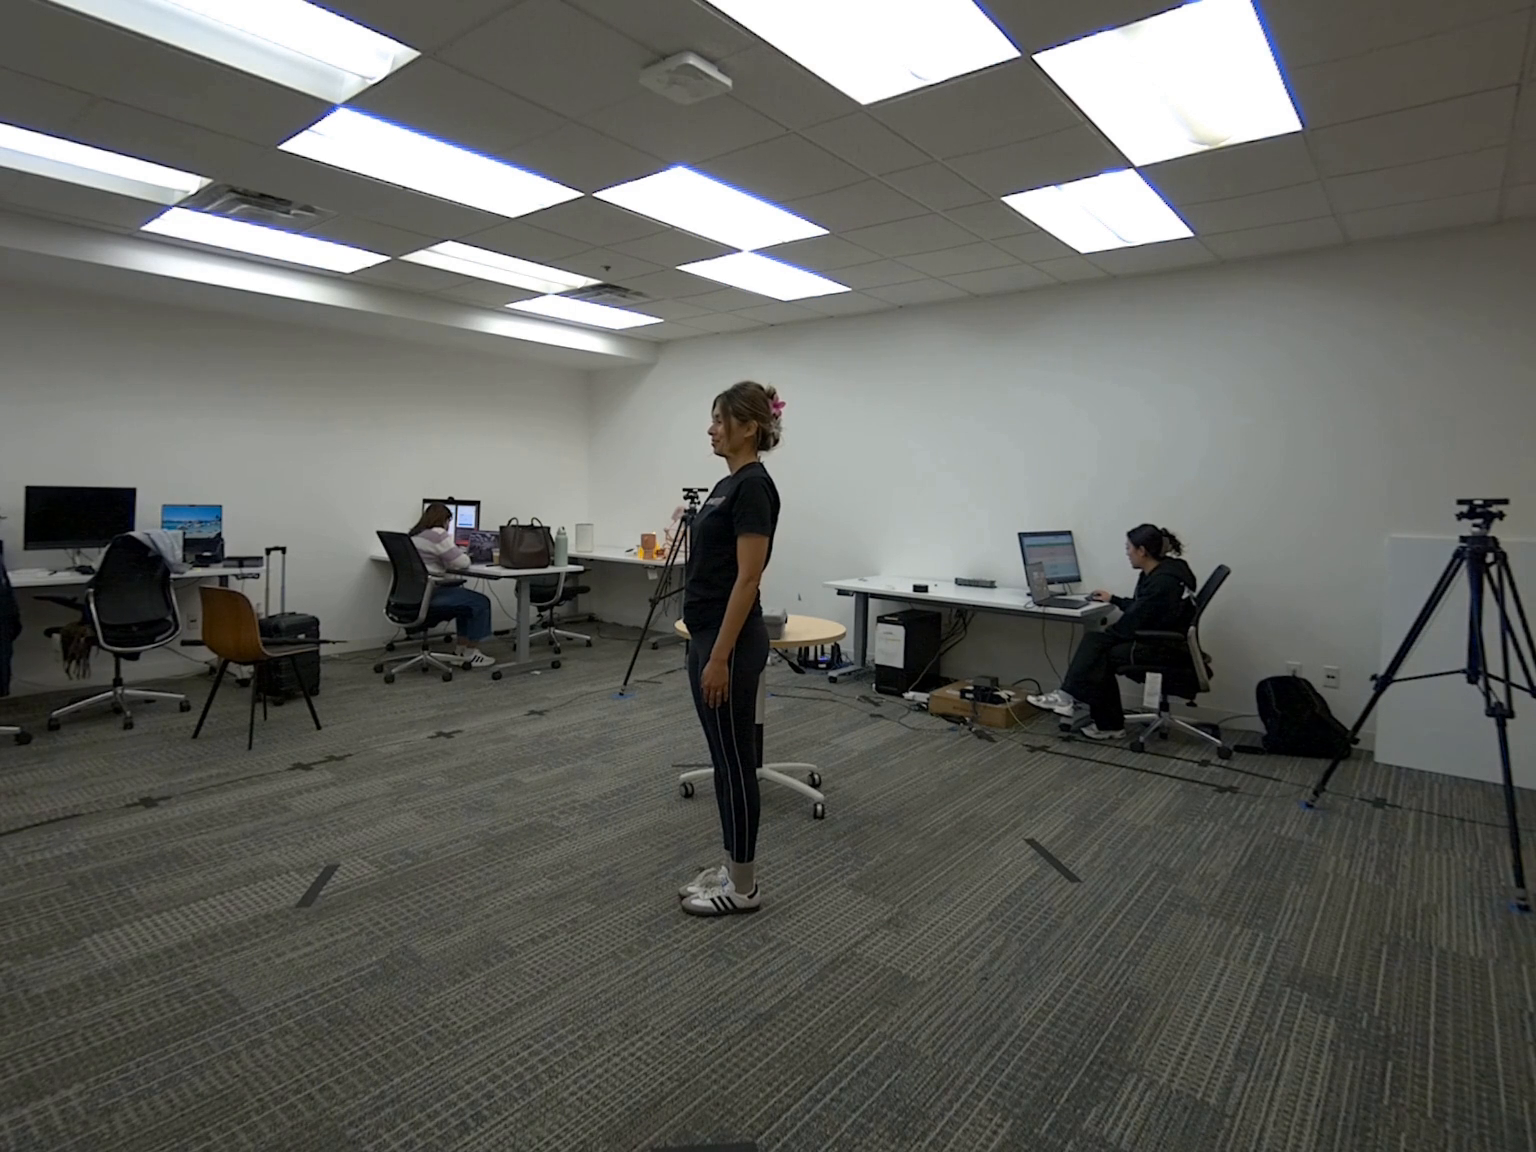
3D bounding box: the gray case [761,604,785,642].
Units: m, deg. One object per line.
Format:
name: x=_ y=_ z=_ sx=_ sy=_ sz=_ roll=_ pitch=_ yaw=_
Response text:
gray case: x=-0.075 y=0.192 z=3.586 sx=0.263 sy=0.104 sz=0.256 roll=1 pitch=7 yaw=9
